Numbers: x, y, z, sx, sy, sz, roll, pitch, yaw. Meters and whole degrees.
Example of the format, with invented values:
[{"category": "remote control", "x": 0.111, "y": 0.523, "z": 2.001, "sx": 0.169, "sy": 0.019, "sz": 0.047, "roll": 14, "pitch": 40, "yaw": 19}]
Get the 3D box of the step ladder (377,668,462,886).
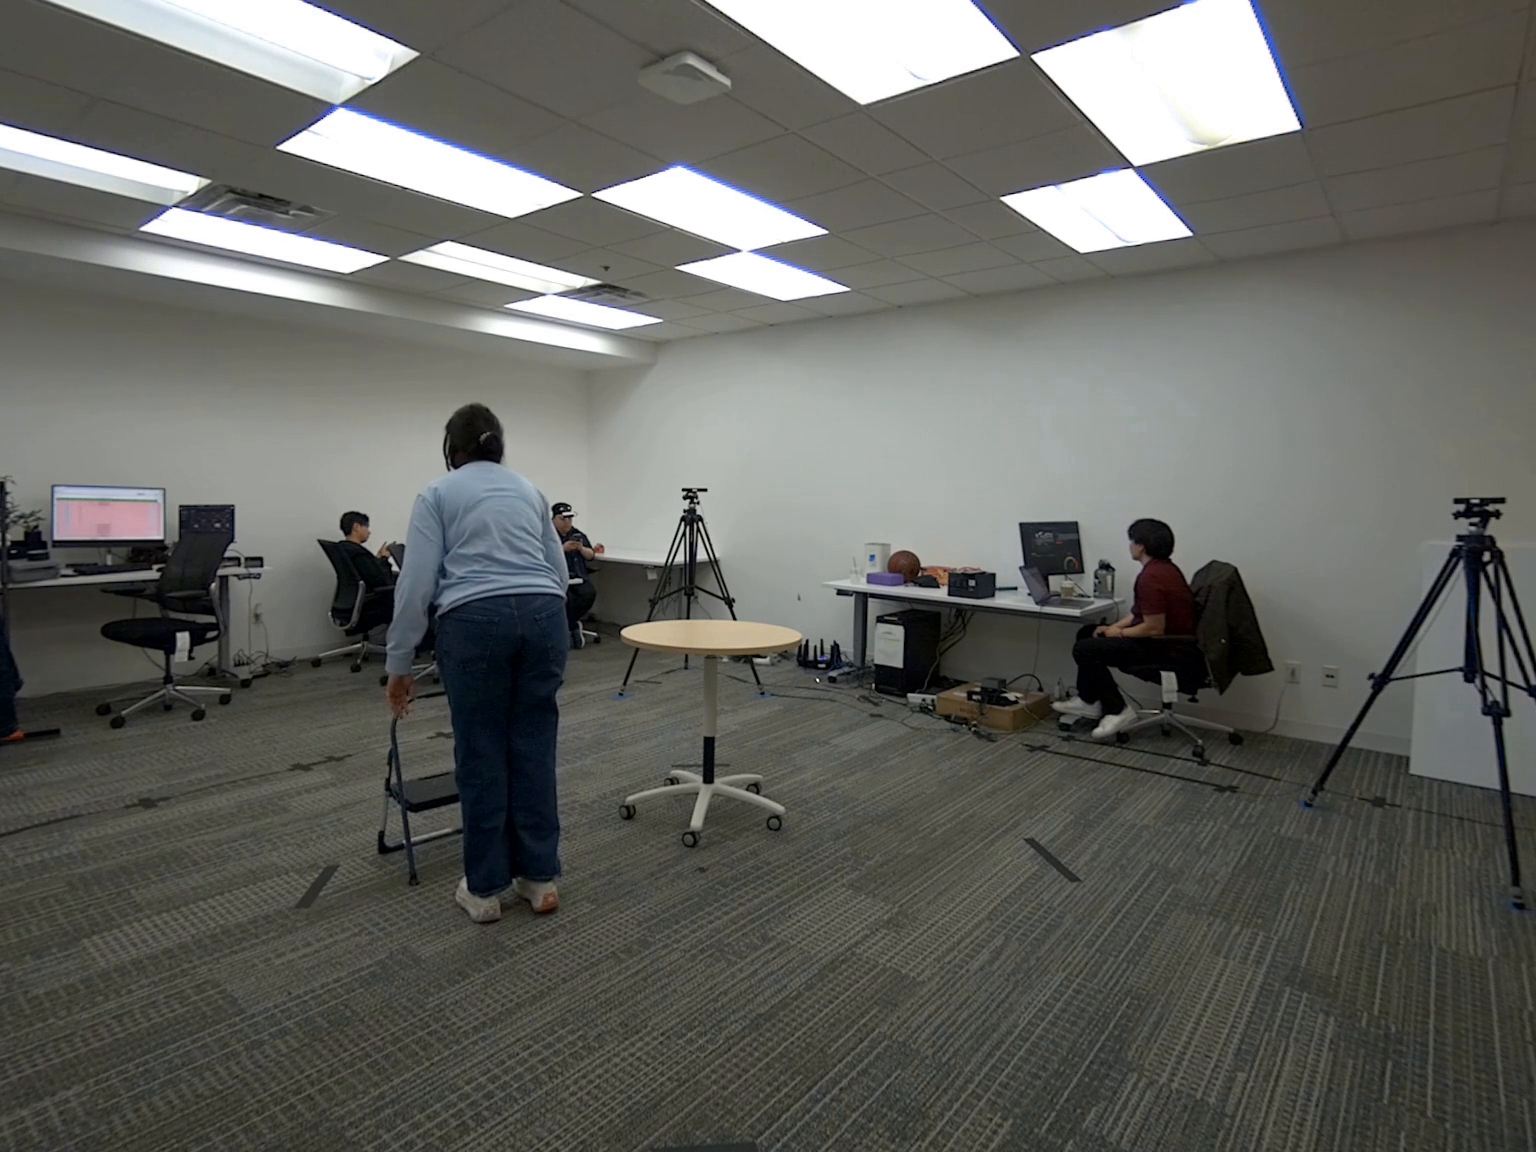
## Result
[{"category": "step ladder", "x": -1.218, "y": 0.745, "z": 3.200, "sx": 0.418, "sy": 0.604, "sz": 0.361, "roll": -3, "pitch": 5, "yaw": -44}]
